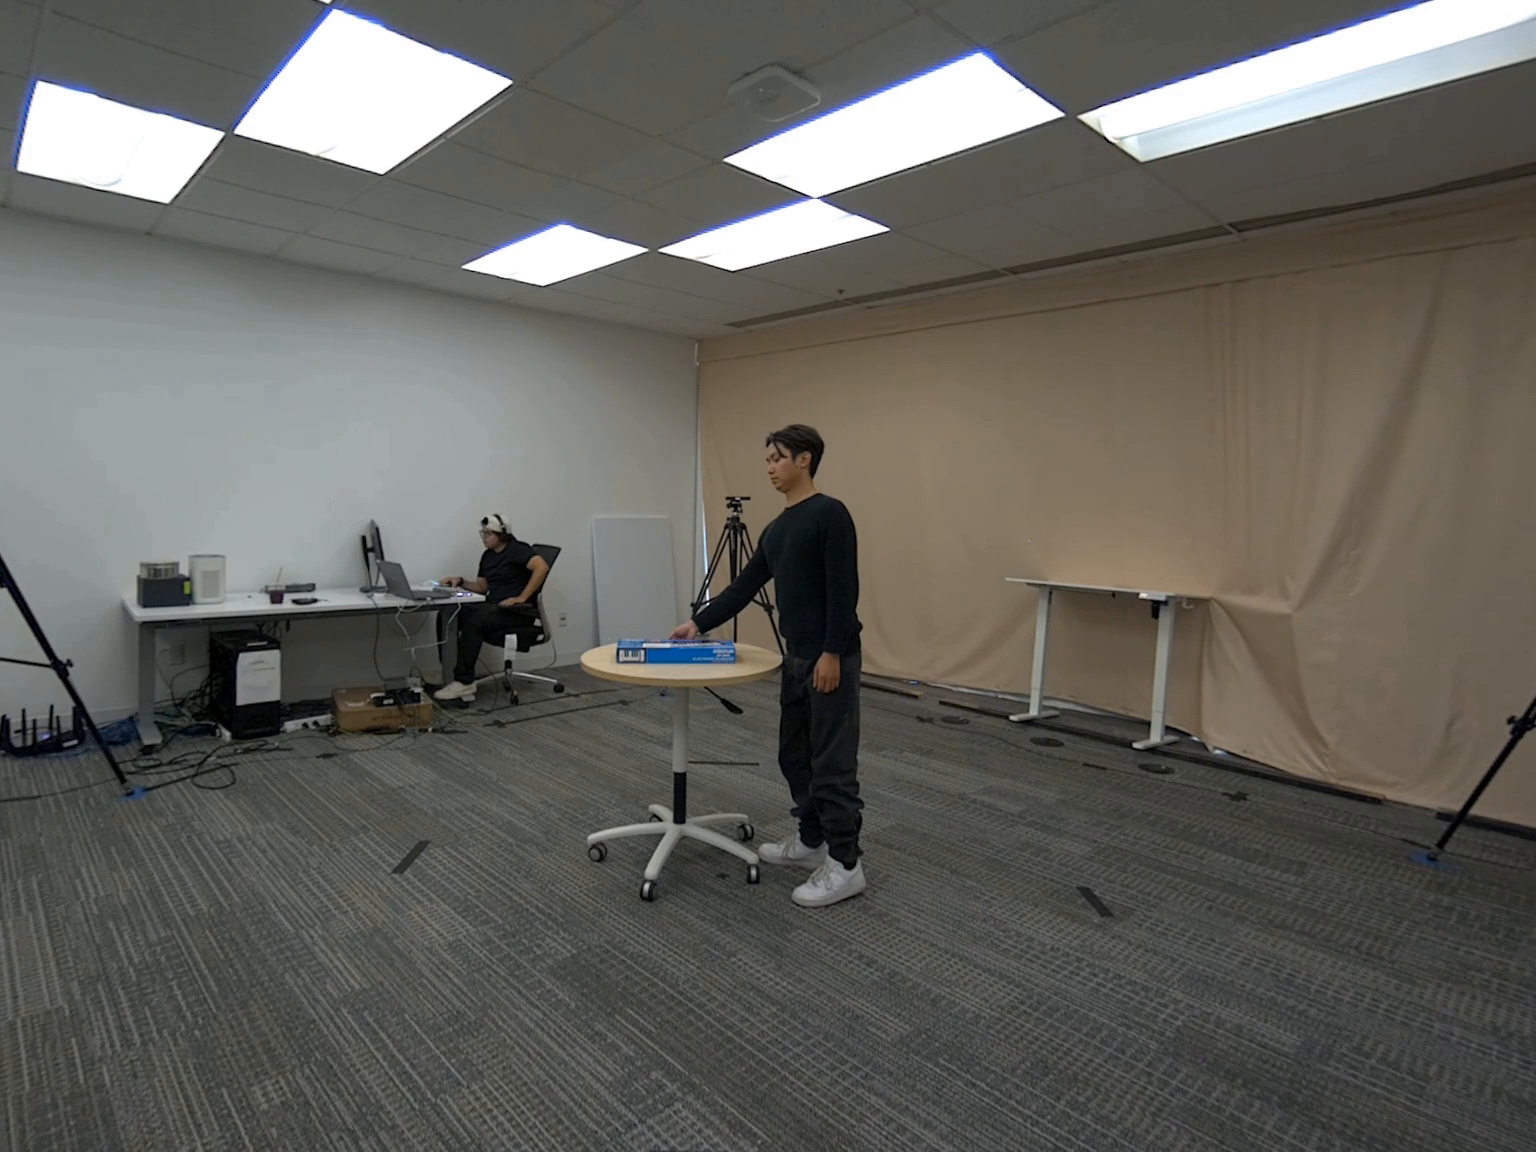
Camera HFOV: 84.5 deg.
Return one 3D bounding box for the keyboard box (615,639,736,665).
[{"bbox_3d":[-0.354,0.282,3.170,0.434,0.059,0.177,0,7,-6],"label":"keyboard box"}]
